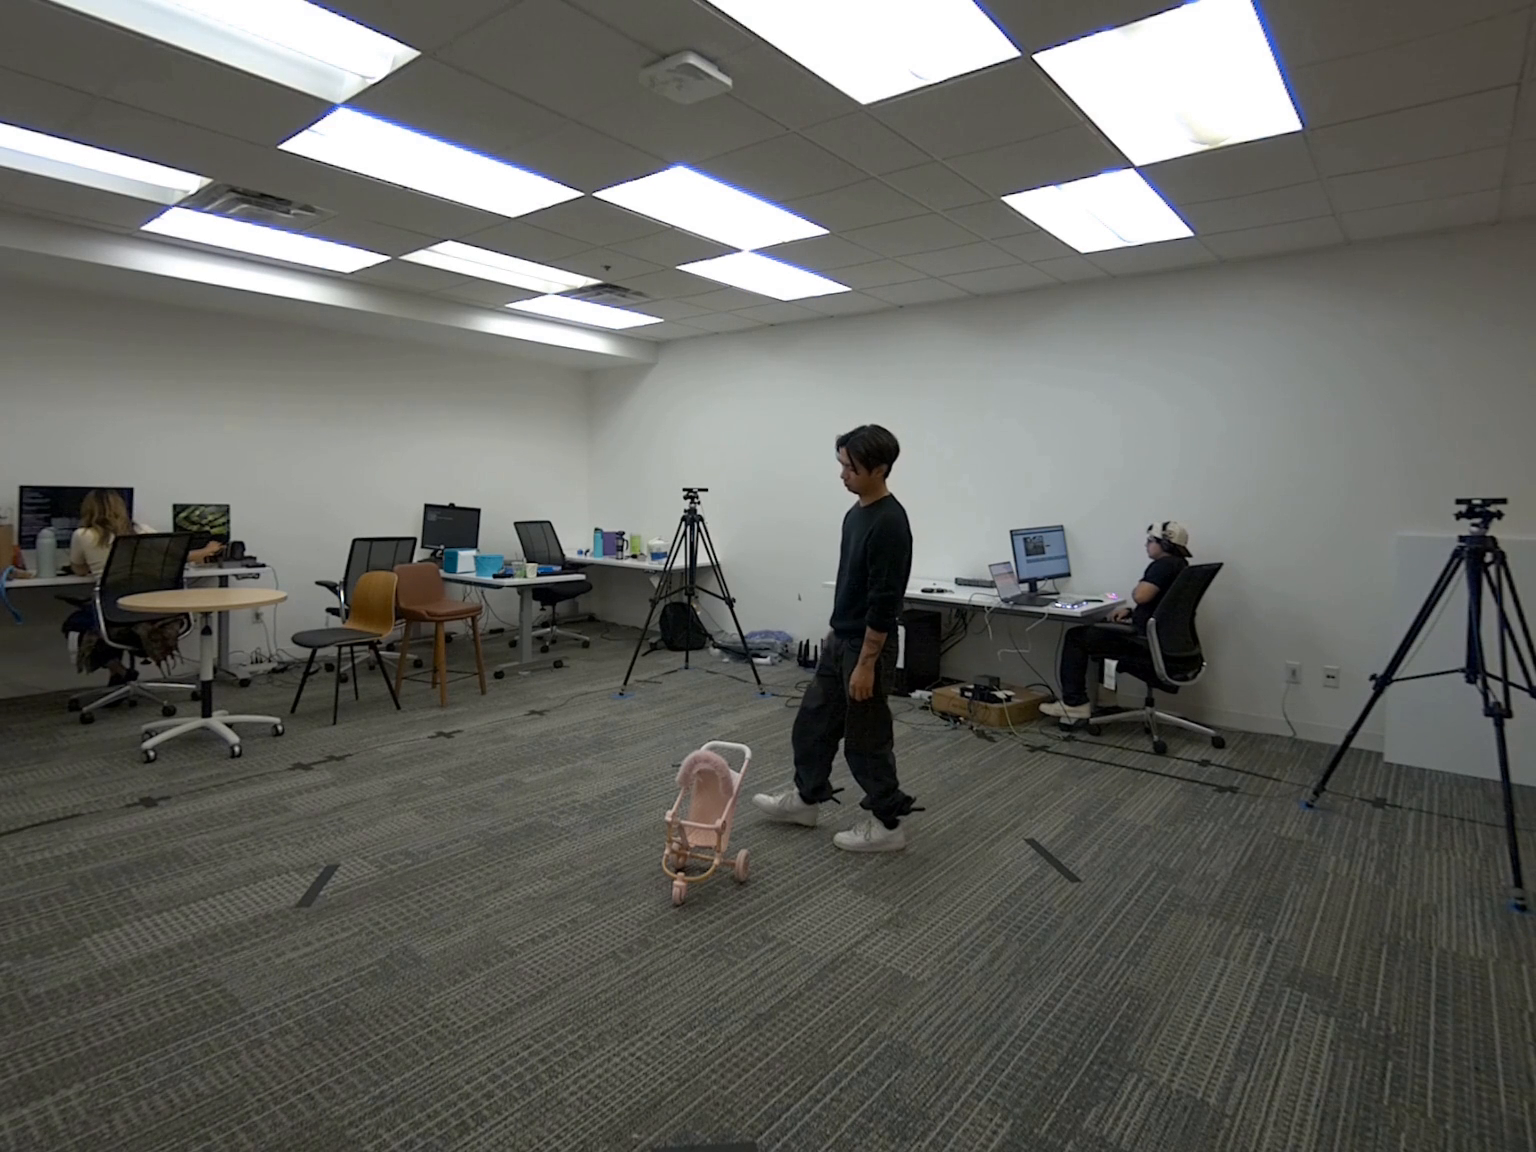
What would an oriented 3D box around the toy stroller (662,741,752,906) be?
[{"bbox_3d":[-0.238,0.852,3.002,0.289,0.540,0.329,2,-12,25],"label":"toy stroller"}]
